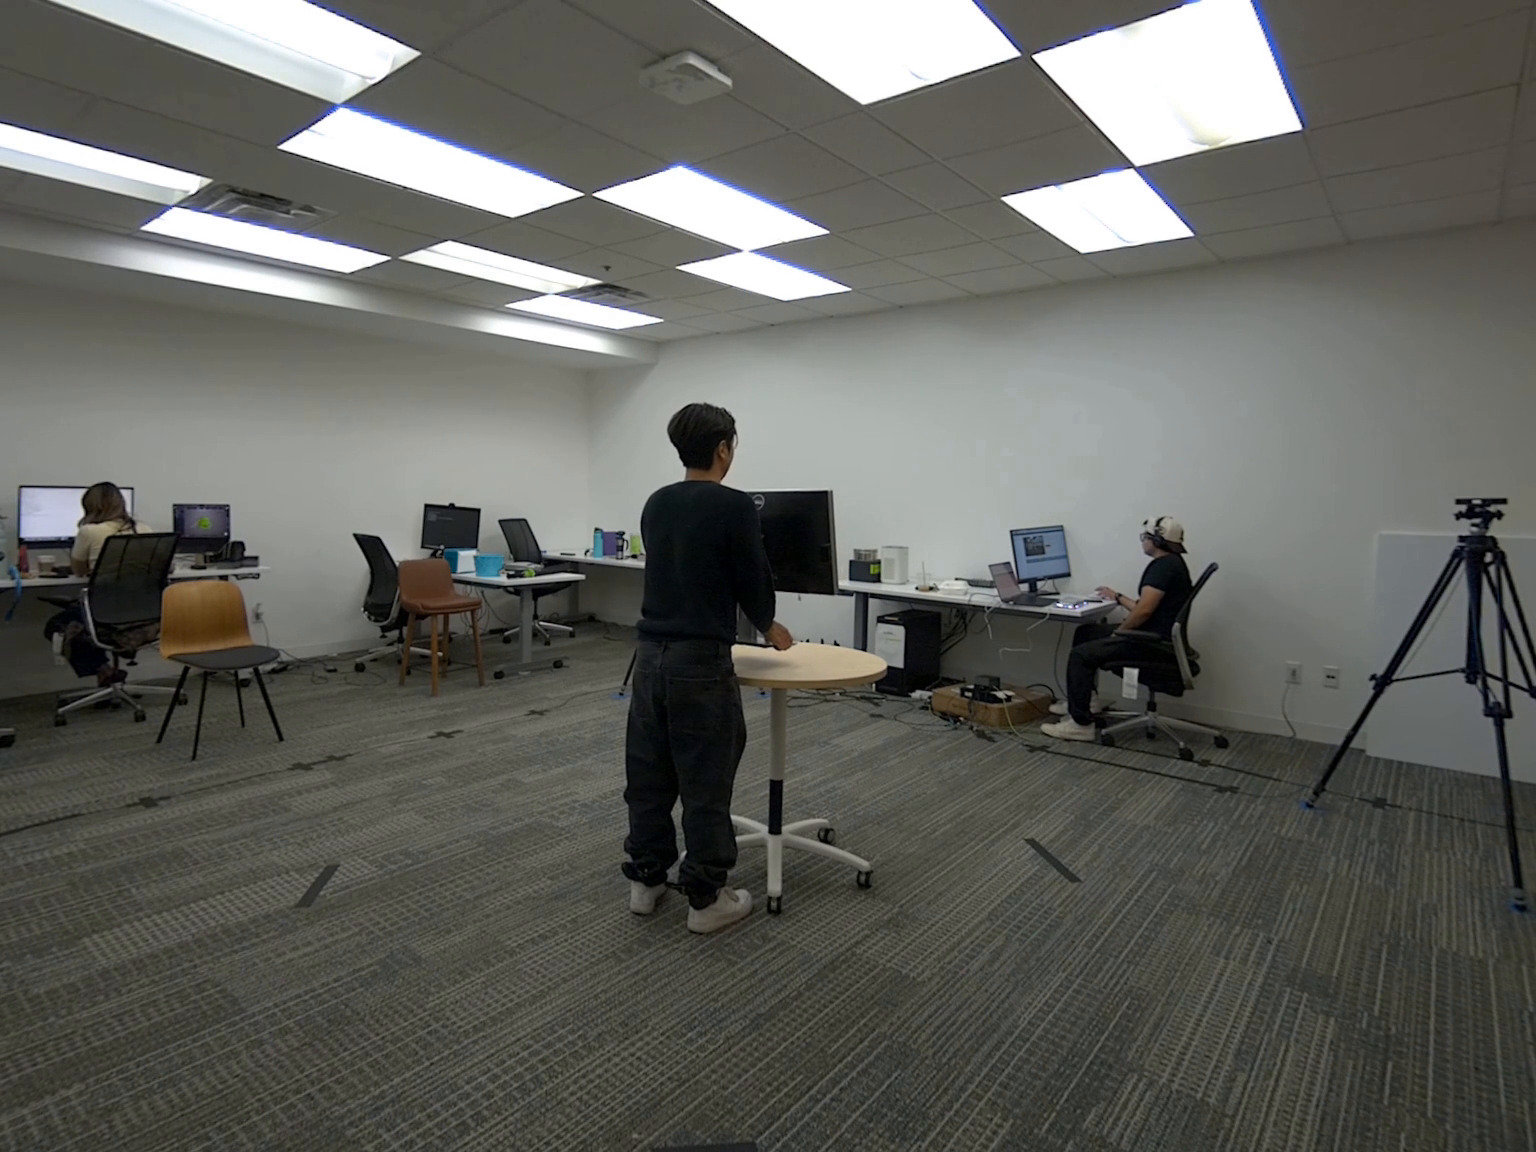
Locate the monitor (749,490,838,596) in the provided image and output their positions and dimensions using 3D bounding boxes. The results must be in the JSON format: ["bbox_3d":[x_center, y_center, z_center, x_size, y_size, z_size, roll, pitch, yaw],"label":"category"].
[{"bbox_3d":[-0.042,-0.040,2.996,0.556,0.523,0.181,3,-2,35],"label":"monitor"}]
